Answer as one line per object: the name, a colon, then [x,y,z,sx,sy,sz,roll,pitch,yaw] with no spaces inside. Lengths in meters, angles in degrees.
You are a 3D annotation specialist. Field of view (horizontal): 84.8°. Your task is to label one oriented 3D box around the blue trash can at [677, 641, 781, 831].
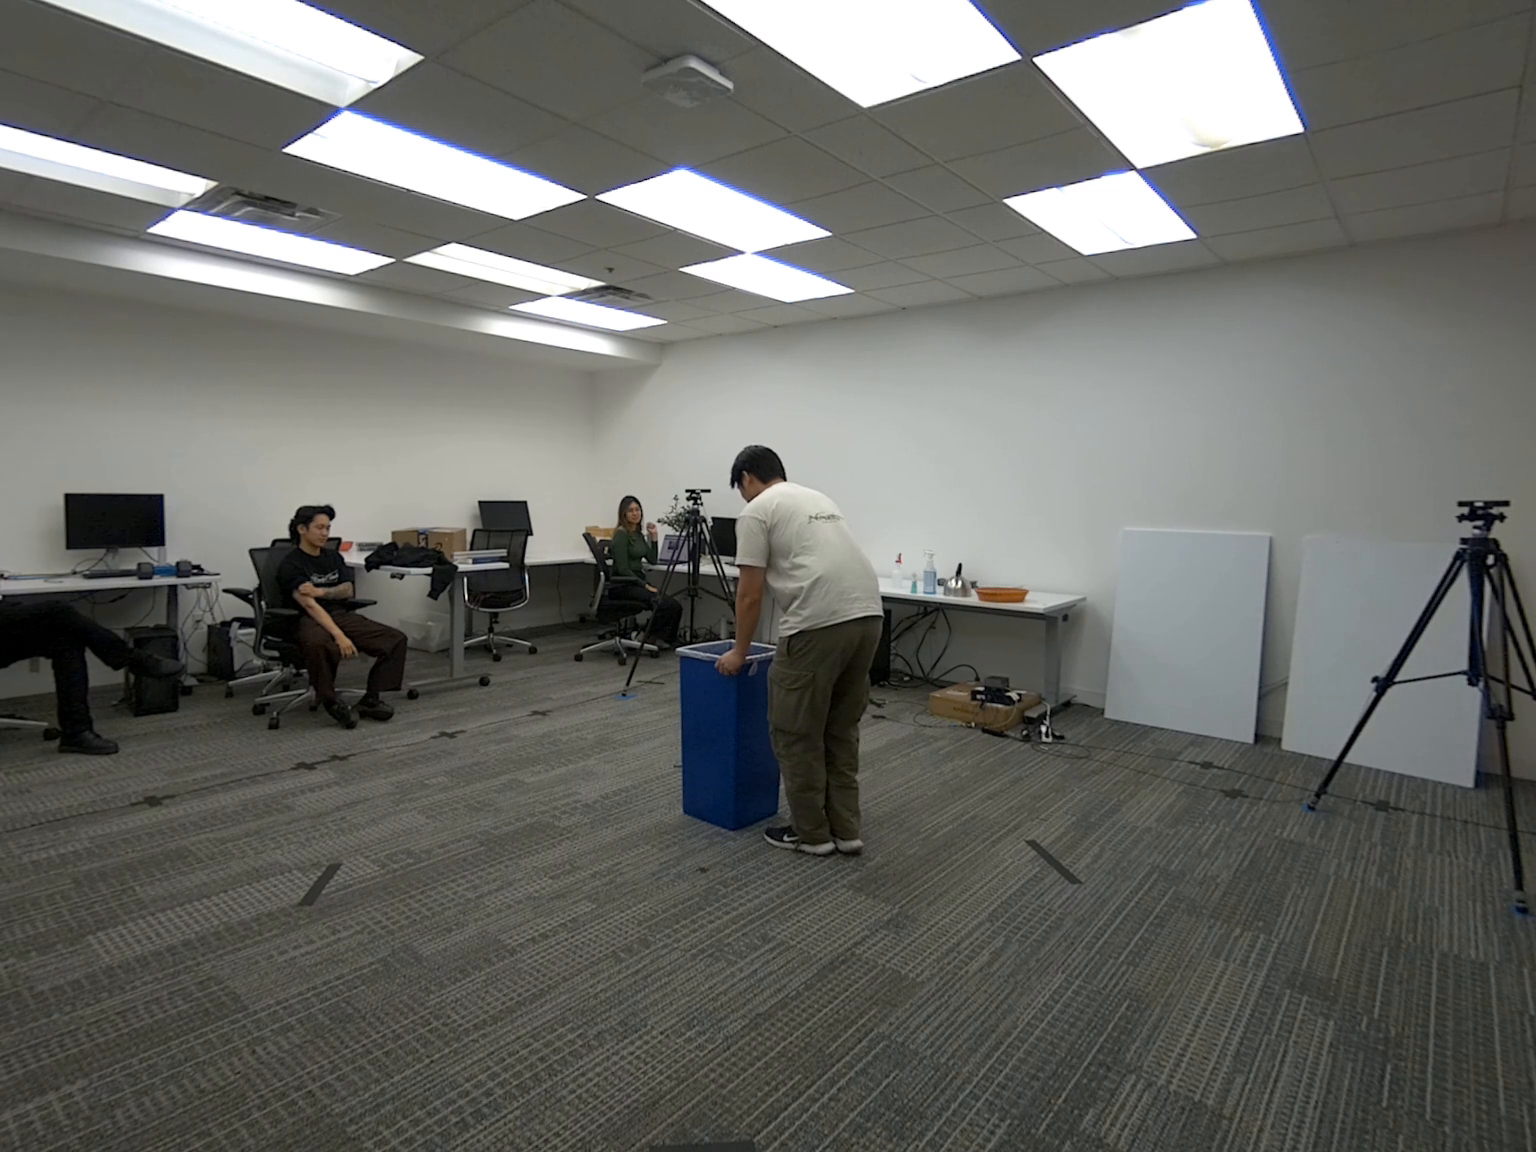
blue trash can: [-0.174,0.664,3.666,0.387,0.712,0.366,4,4,40]
